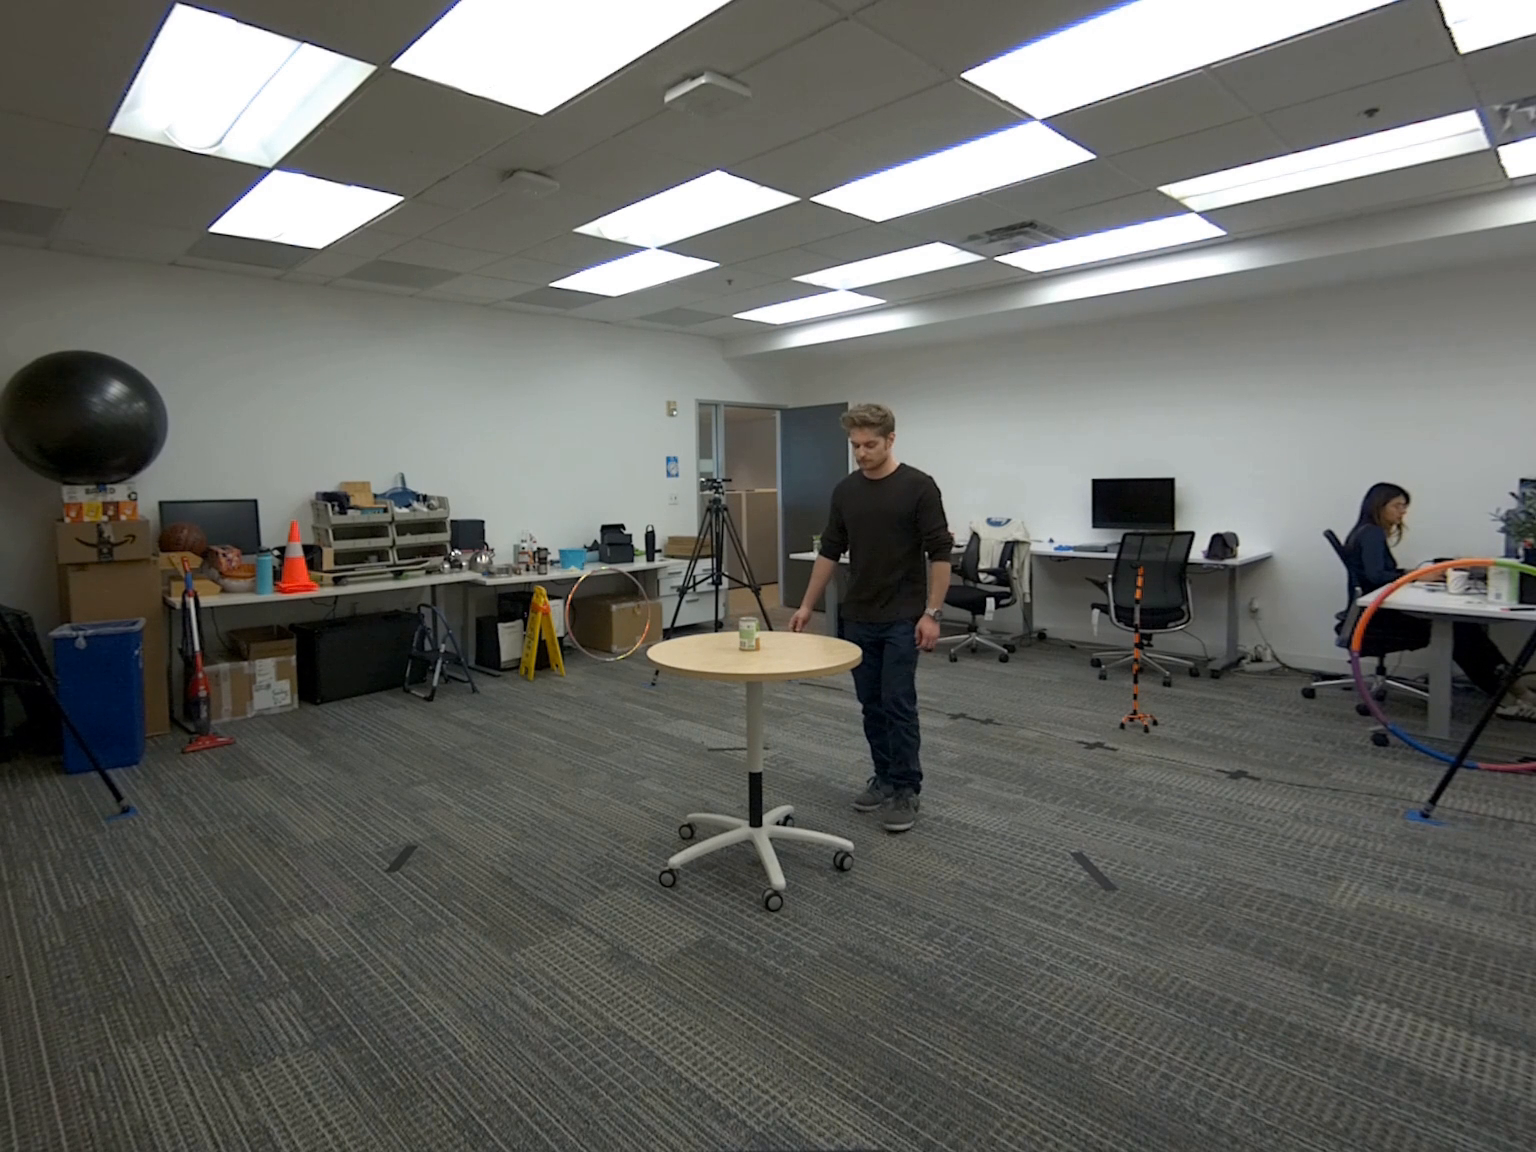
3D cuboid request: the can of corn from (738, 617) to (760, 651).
[{"bbox_3d":[-0.066,0.208,3.061,0.074,0.111,0.074,0,2,-2],"label":"can of corn"}]
